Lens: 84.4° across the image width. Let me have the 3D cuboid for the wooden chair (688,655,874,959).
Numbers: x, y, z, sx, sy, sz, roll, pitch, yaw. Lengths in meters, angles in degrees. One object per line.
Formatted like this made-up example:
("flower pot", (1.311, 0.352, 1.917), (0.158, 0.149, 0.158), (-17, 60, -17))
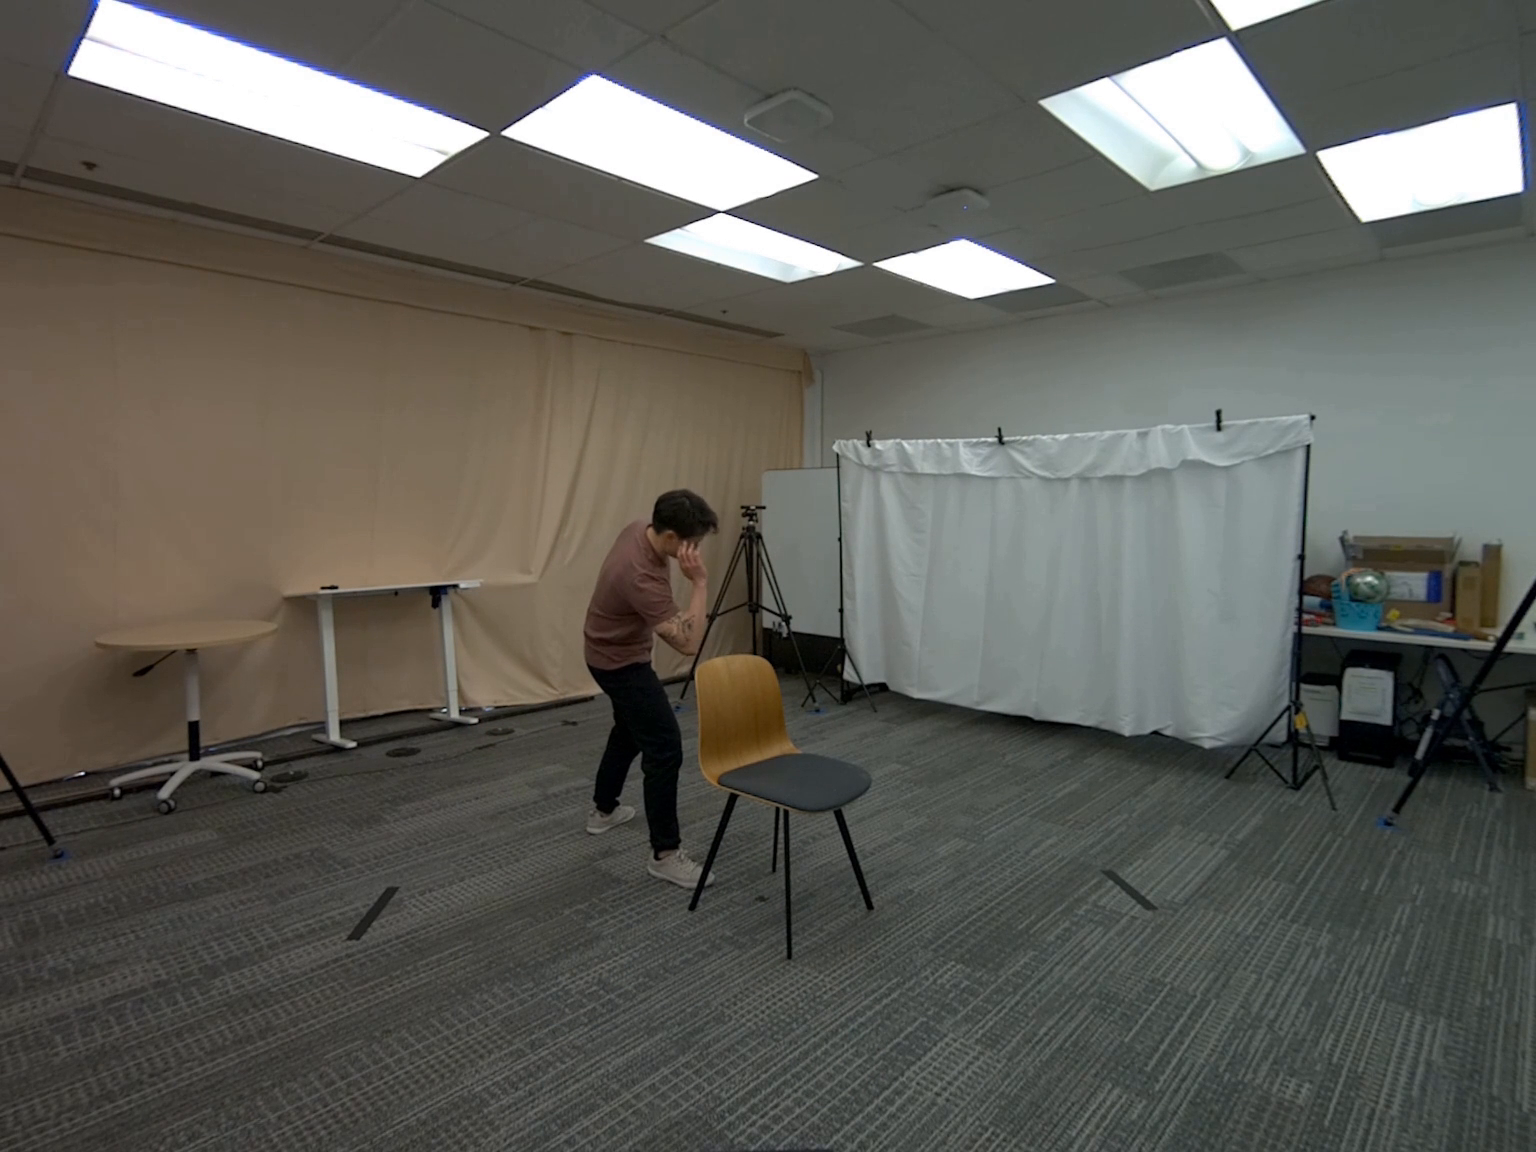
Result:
("wooden chair", (0.055, 0.727, 2.860), (0.539, 0.877, 0.463), (-3, 0, 43))
